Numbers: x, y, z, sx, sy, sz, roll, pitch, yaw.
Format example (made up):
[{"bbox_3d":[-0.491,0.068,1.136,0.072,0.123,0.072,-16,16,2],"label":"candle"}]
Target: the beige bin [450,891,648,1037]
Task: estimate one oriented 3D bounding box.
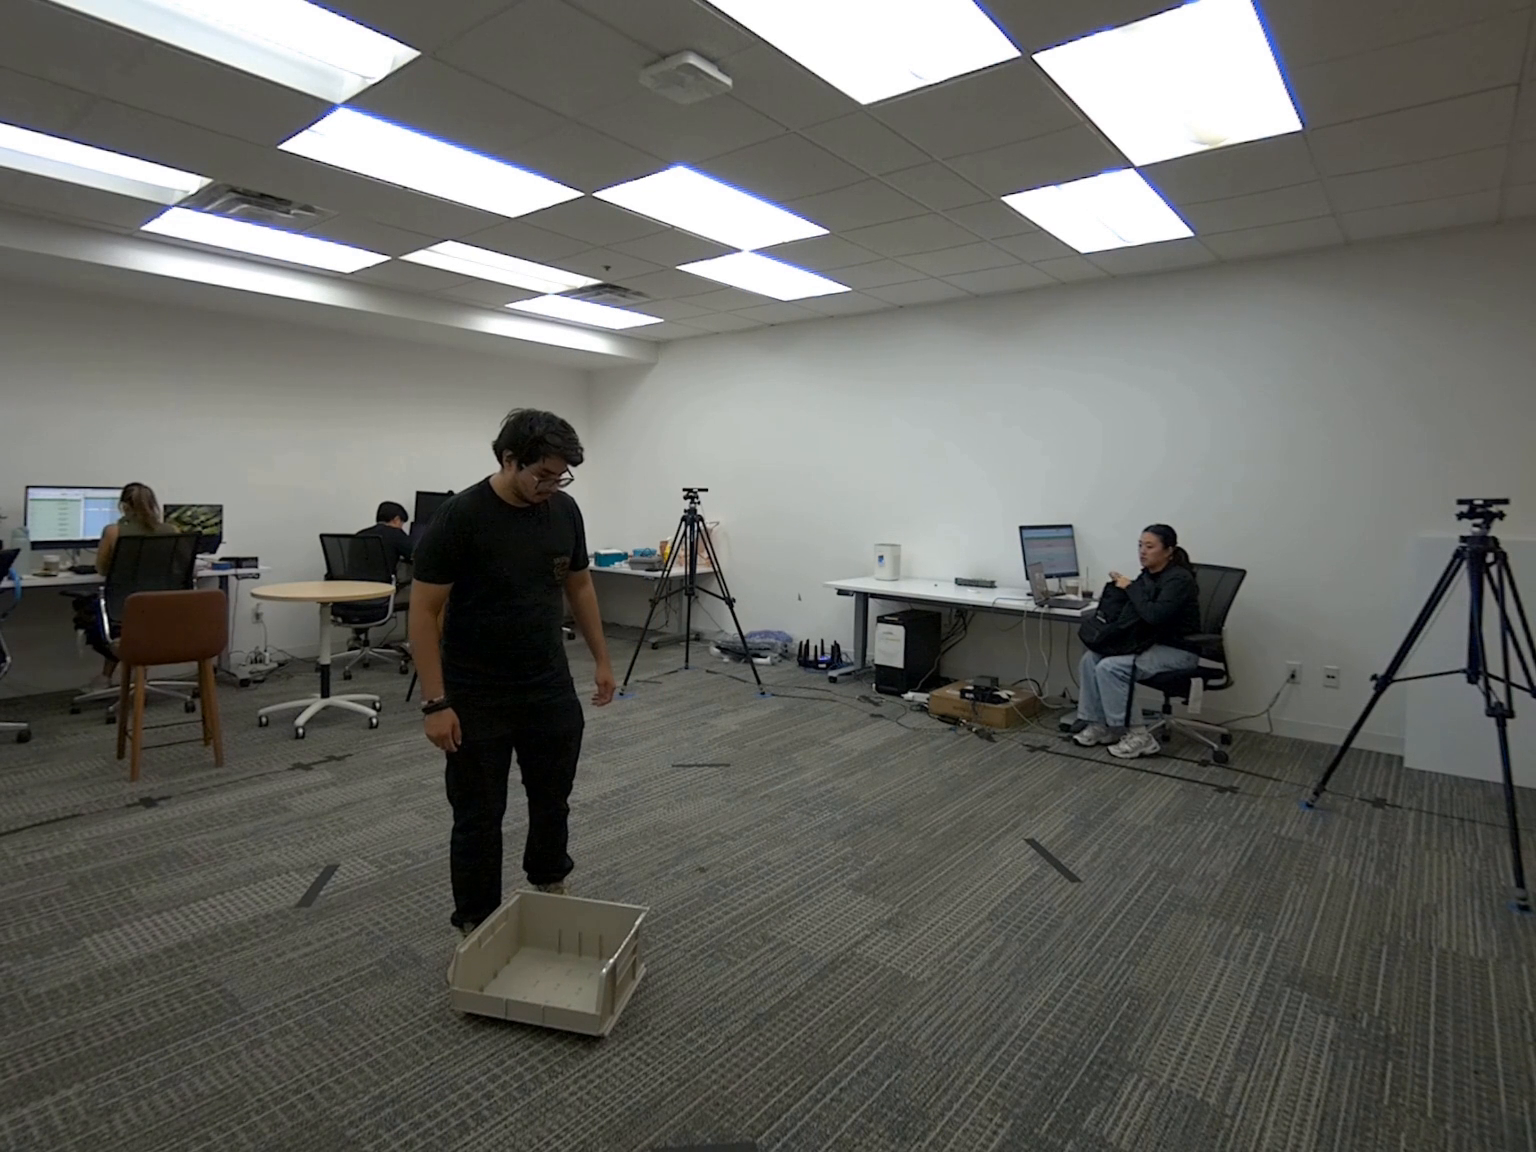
[{"bbox_3d":[-0.590,1.050,2.324,0.429,0.188,0.372,2,4,13],"label":"beige bin"}]
